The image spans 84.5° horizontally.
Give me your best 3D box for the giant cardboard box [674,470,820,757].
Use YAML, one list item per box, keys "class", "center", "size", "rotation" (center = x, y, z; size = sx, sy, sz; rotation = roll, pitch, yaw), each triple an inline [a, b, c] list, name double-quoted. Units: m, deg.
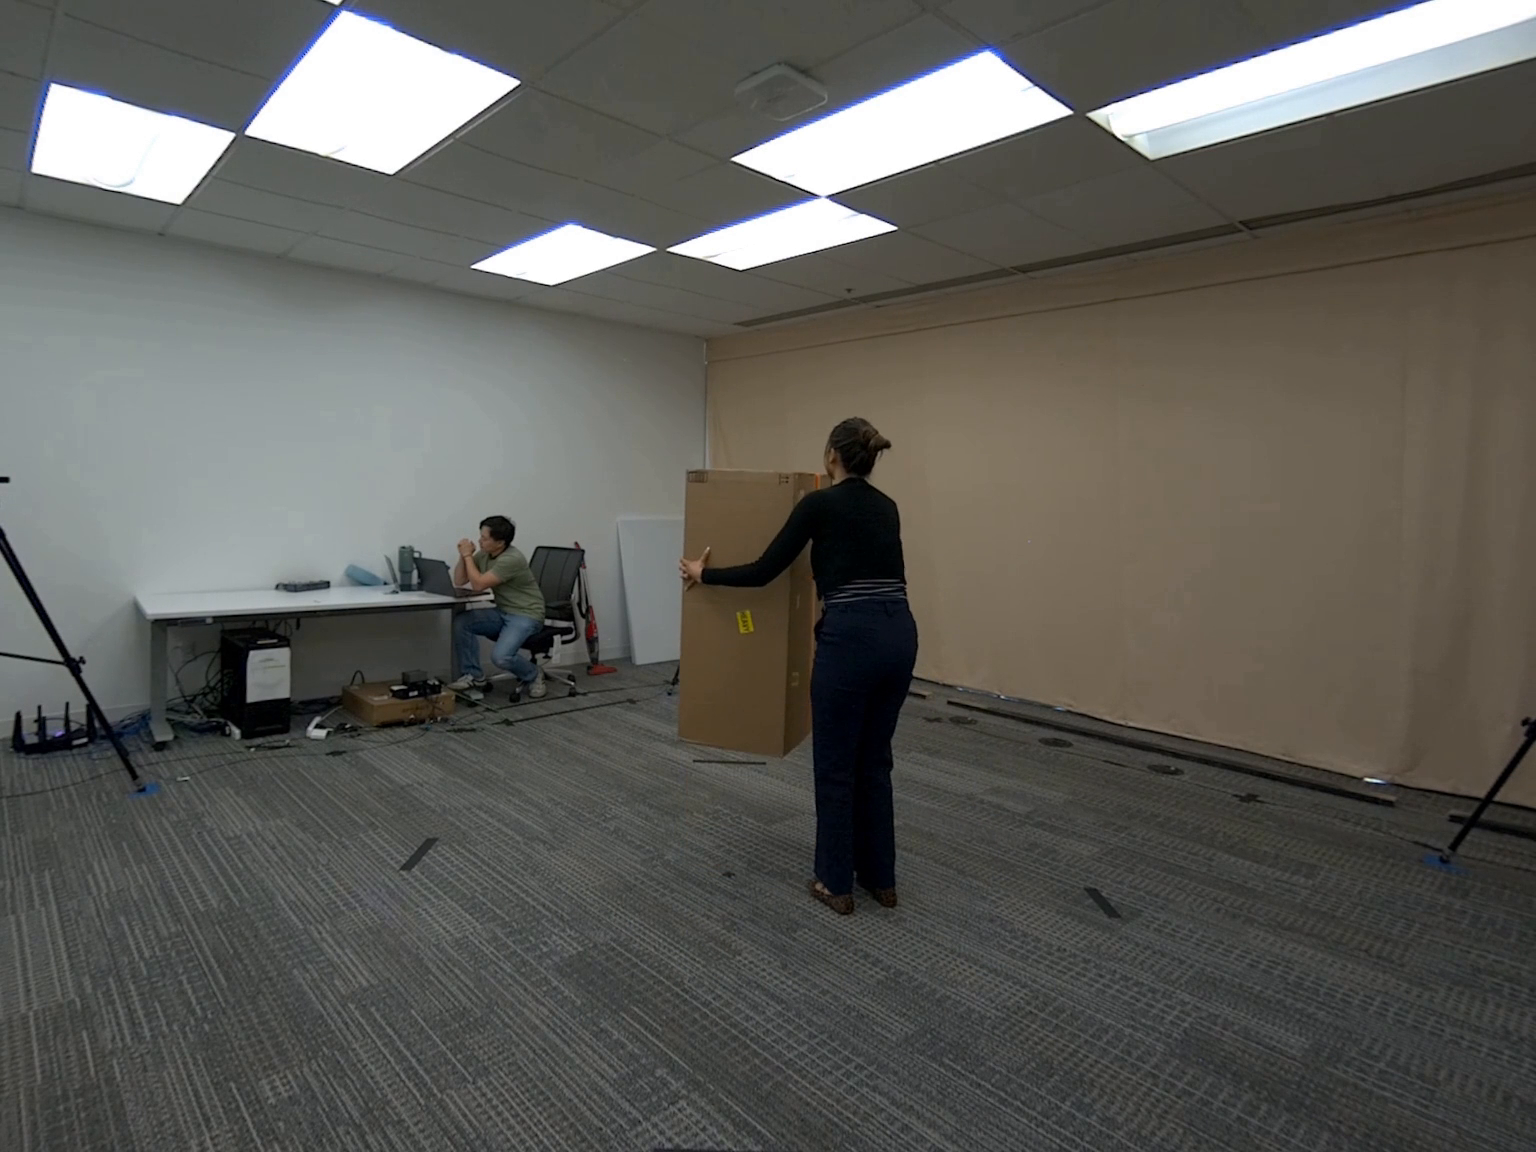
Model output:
- class: "giant cardboard box"
  center: [-0.039, 0.115, 3.318]
  size: [0.433, 1.022, 0.570]
  rotation: [4, 5, 19]
